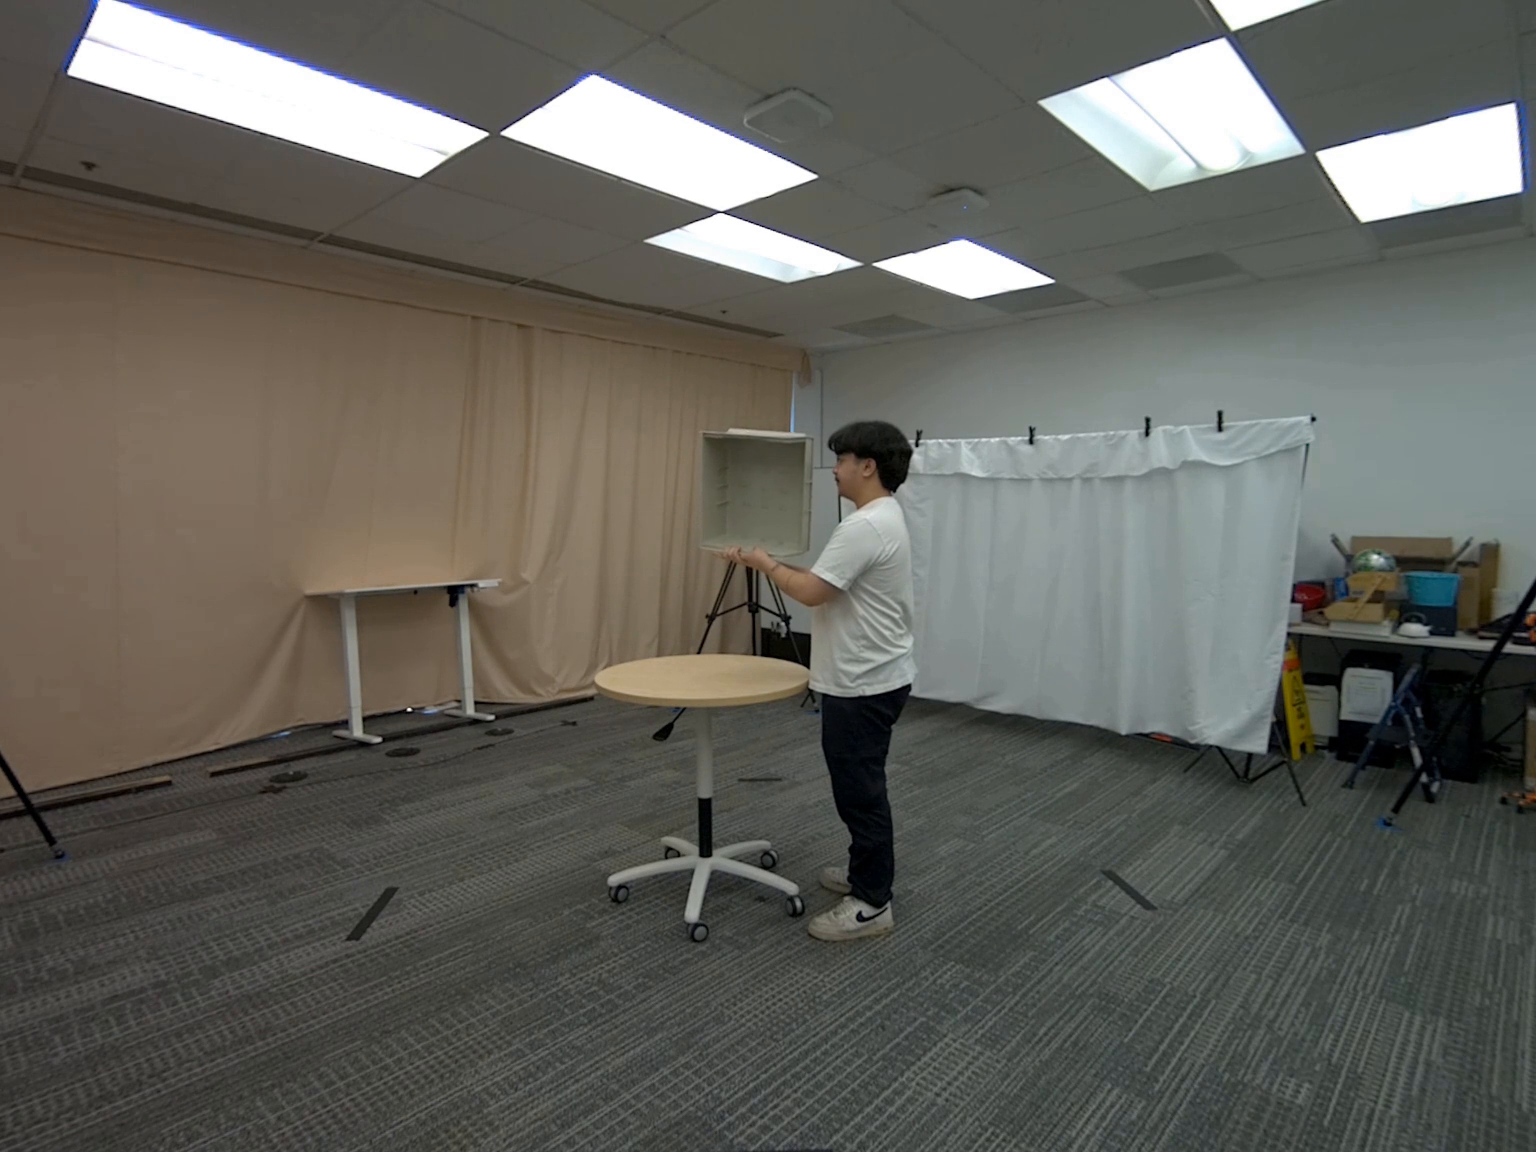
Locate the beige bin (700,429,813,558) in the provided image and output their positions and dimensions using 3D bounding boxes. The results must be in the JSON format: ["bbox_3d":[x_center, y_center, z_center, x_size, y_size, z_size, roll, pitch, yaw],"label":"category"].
[{"bbox_3d":[-0.033,-0.296,2.968,0.389,0.419,0.184,9,15,32],"label":"beige bin"}]
